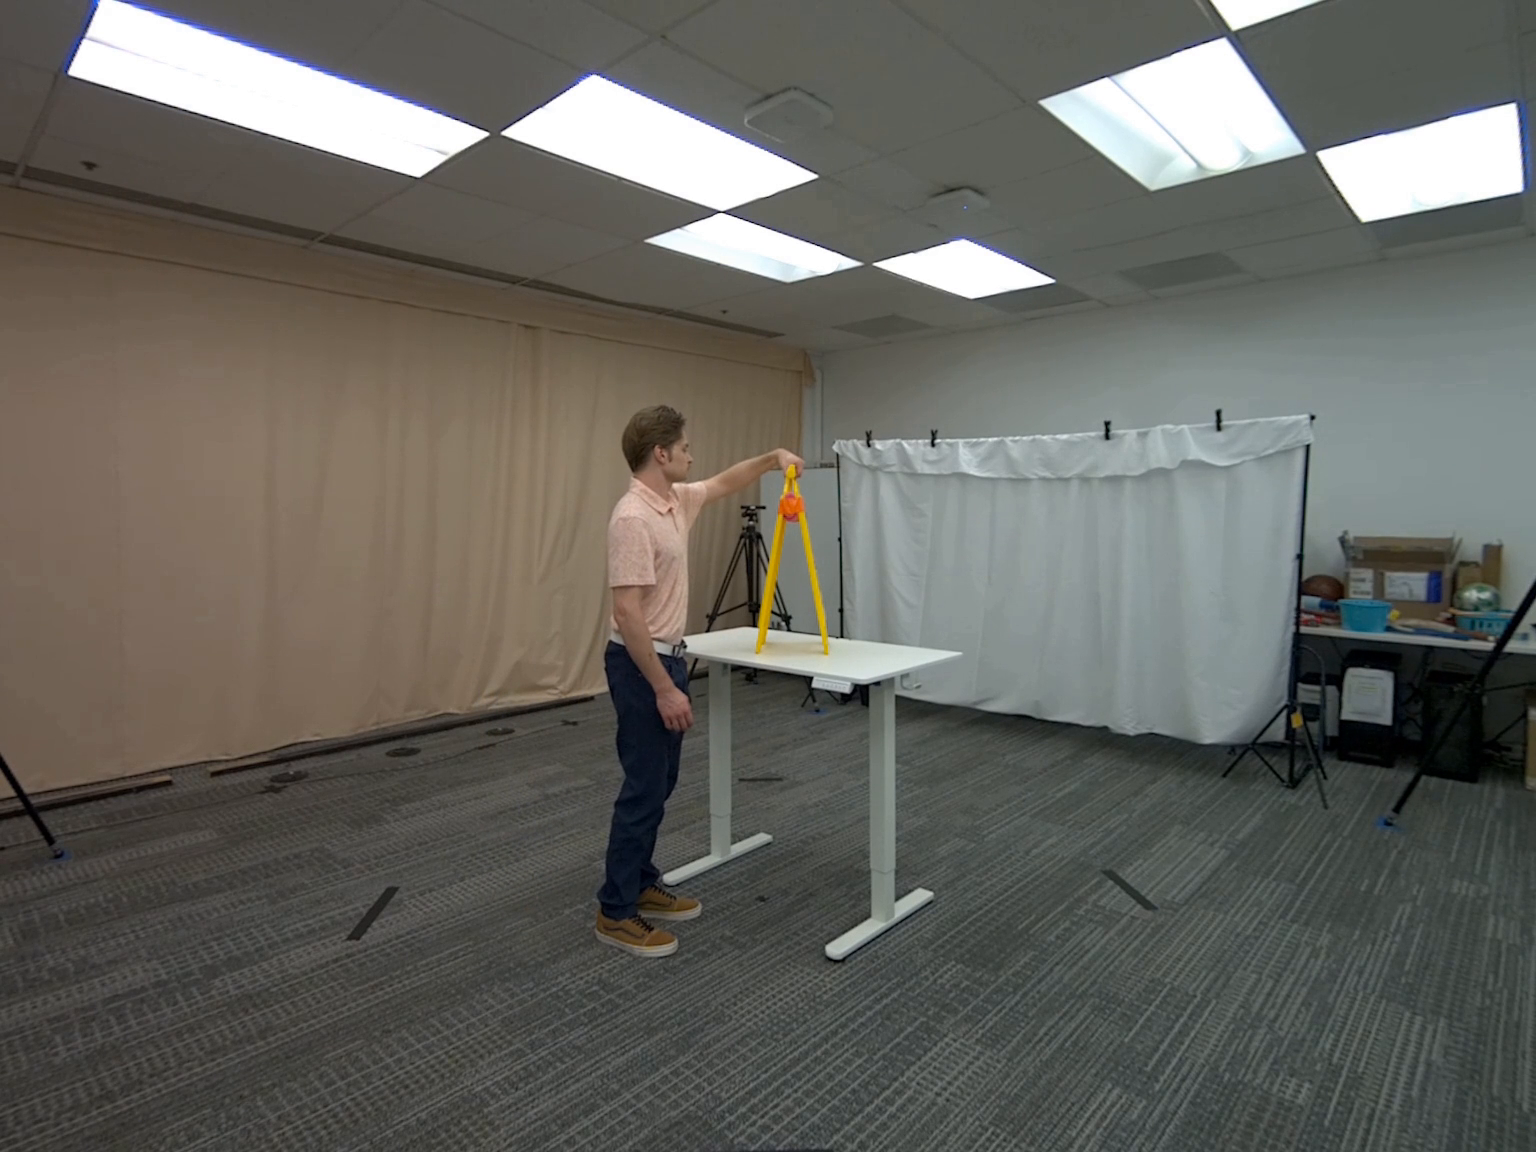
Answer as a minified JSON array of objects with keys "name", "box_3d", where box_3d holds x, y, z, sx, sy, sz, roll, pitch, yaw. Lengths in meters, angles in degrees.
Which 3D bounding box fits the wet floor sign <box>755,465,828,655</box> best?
[{"name":"wet floor sign","box_3d":[0.090,-0.063,2.999,0.291,0.645,0.281,0,3,4]}]
